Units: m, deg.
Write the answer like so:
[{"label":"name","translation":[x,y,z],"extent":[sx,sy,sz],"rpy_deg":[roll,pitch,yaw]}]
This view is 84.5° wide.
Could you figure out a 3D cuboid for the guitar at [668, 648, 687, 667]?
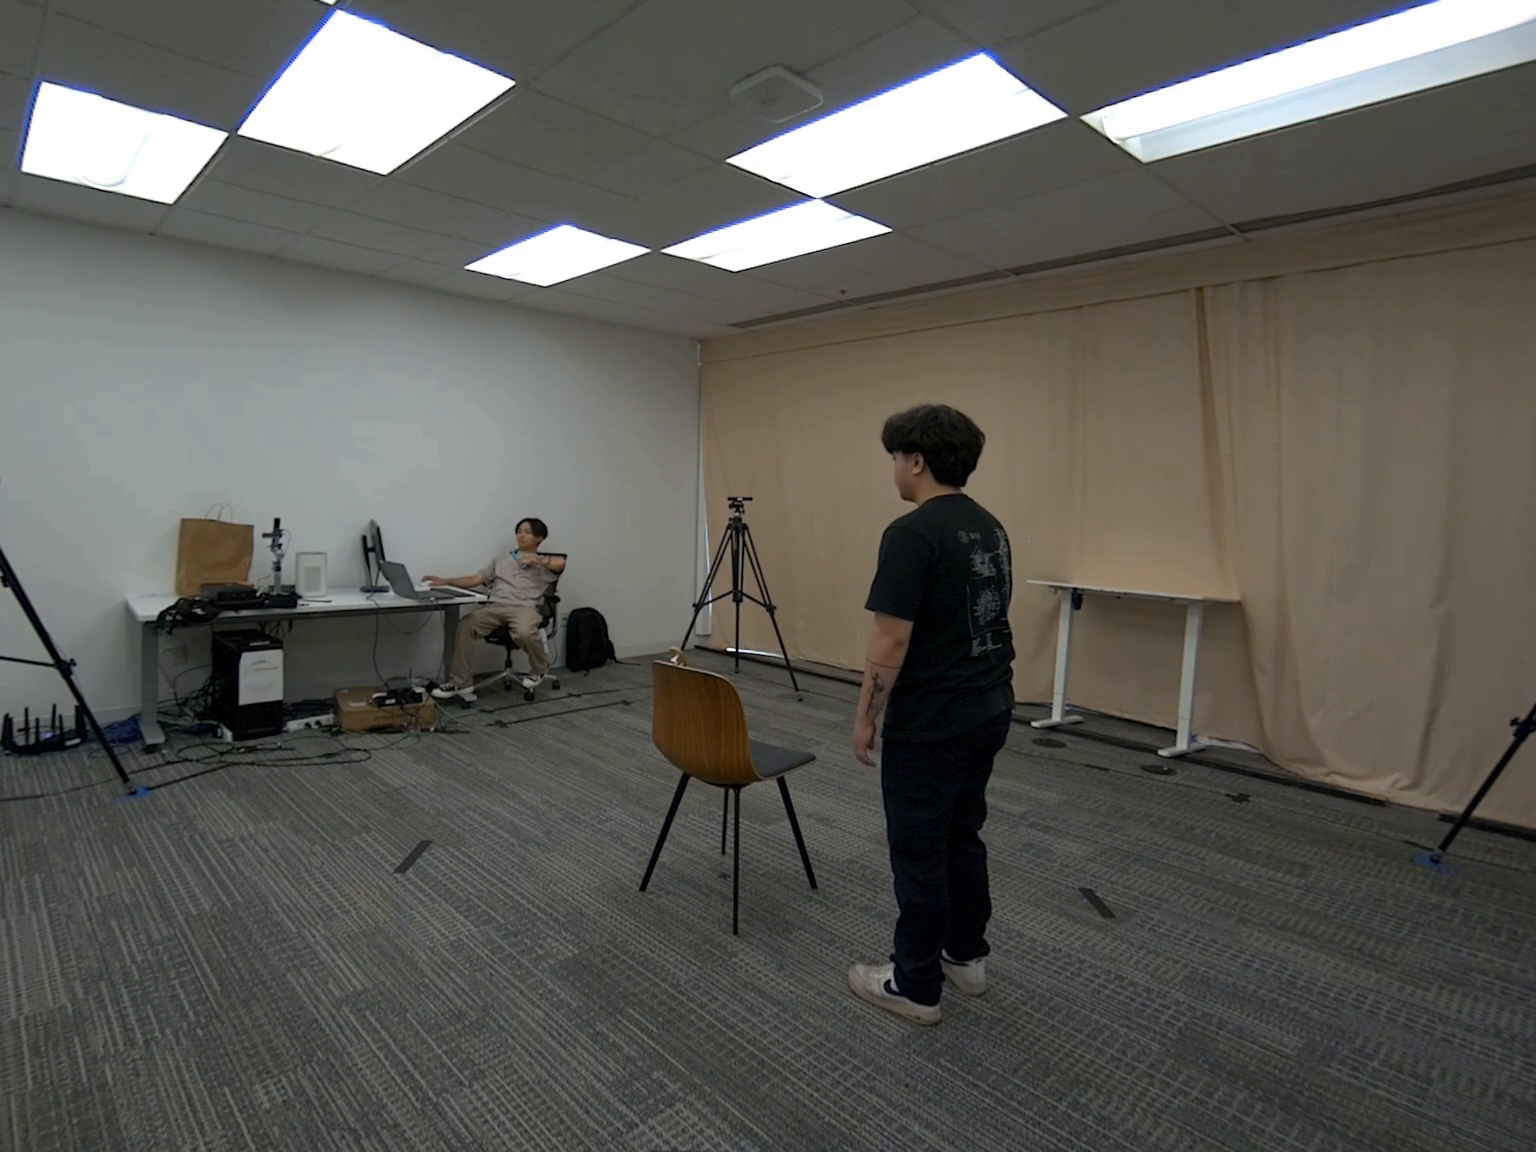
[{"label":"guitar","translation":[-0.250,0.439,2.883],"extent":[0.198,0.486,0.070],"rpy_deg":[2,39,47]}]
